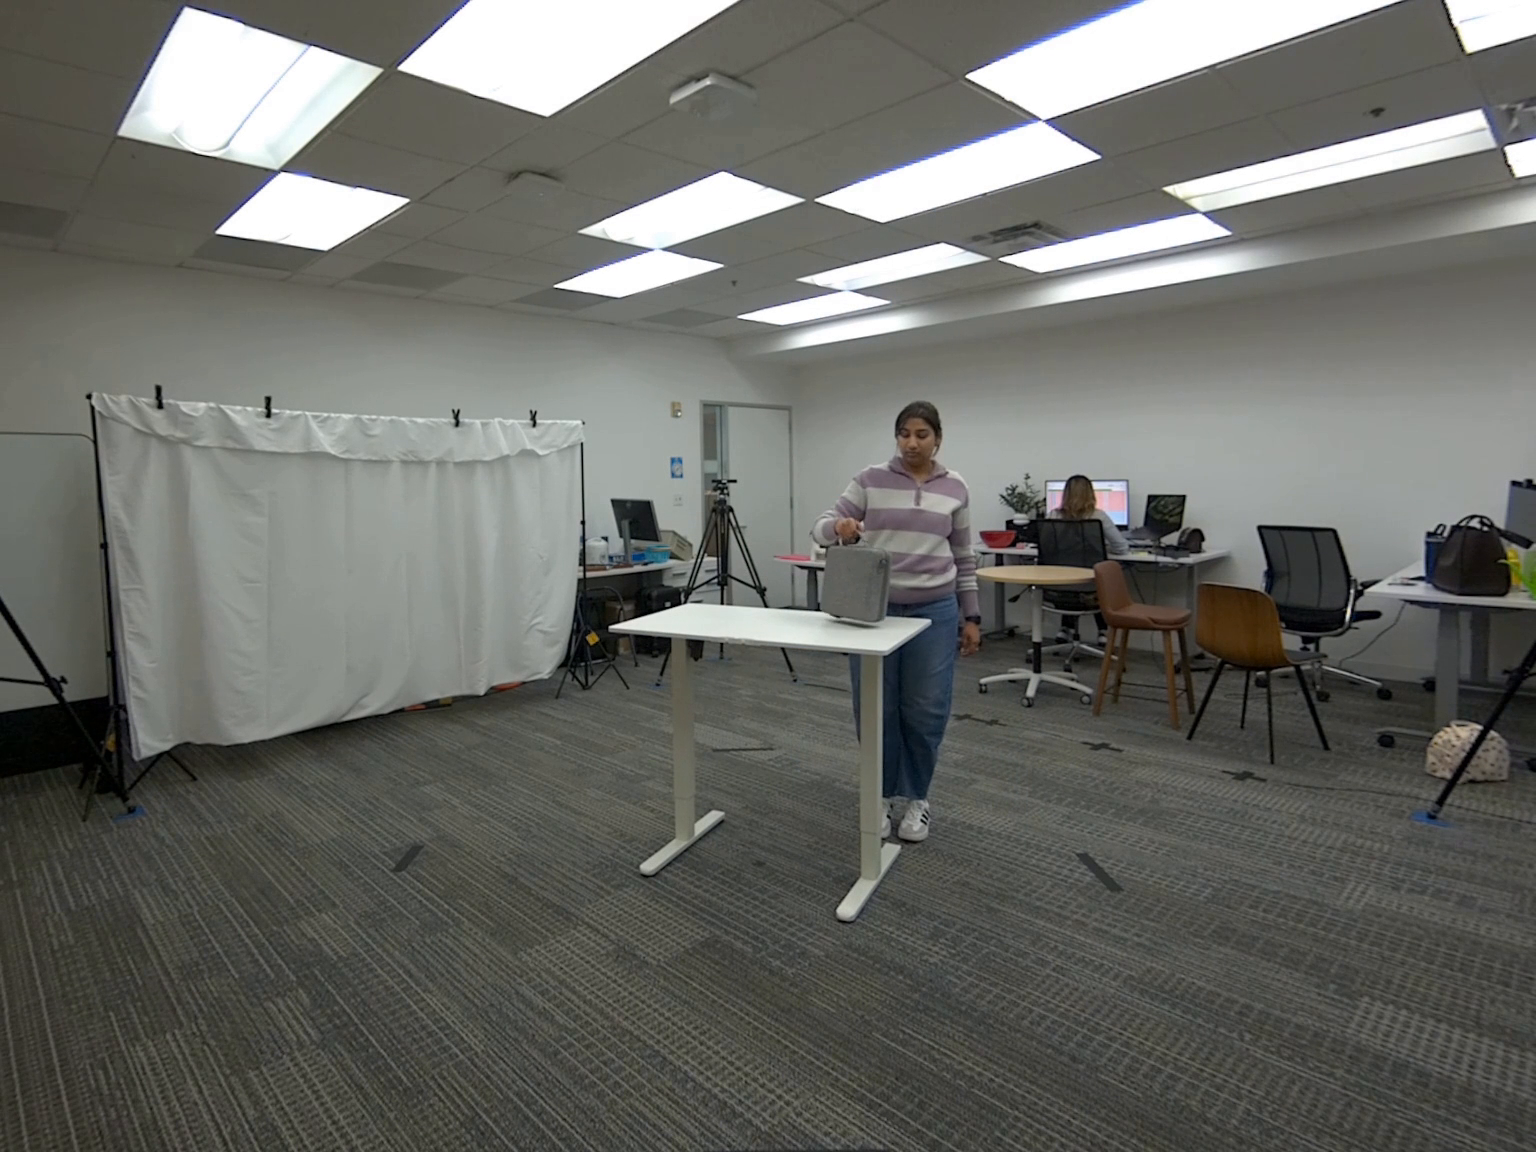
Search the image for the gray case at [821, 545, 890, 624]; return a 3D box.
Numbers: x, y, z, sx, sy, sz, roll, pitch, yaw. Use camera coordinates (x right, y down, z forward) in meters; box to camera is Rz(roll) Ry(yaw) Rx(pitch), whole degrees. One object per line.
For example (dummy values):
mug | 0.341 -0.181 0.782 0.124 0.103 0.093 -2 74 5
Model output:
gray case | 0.310 0.018 3.014 0.101 0.261 0.264 6 -2 -33
